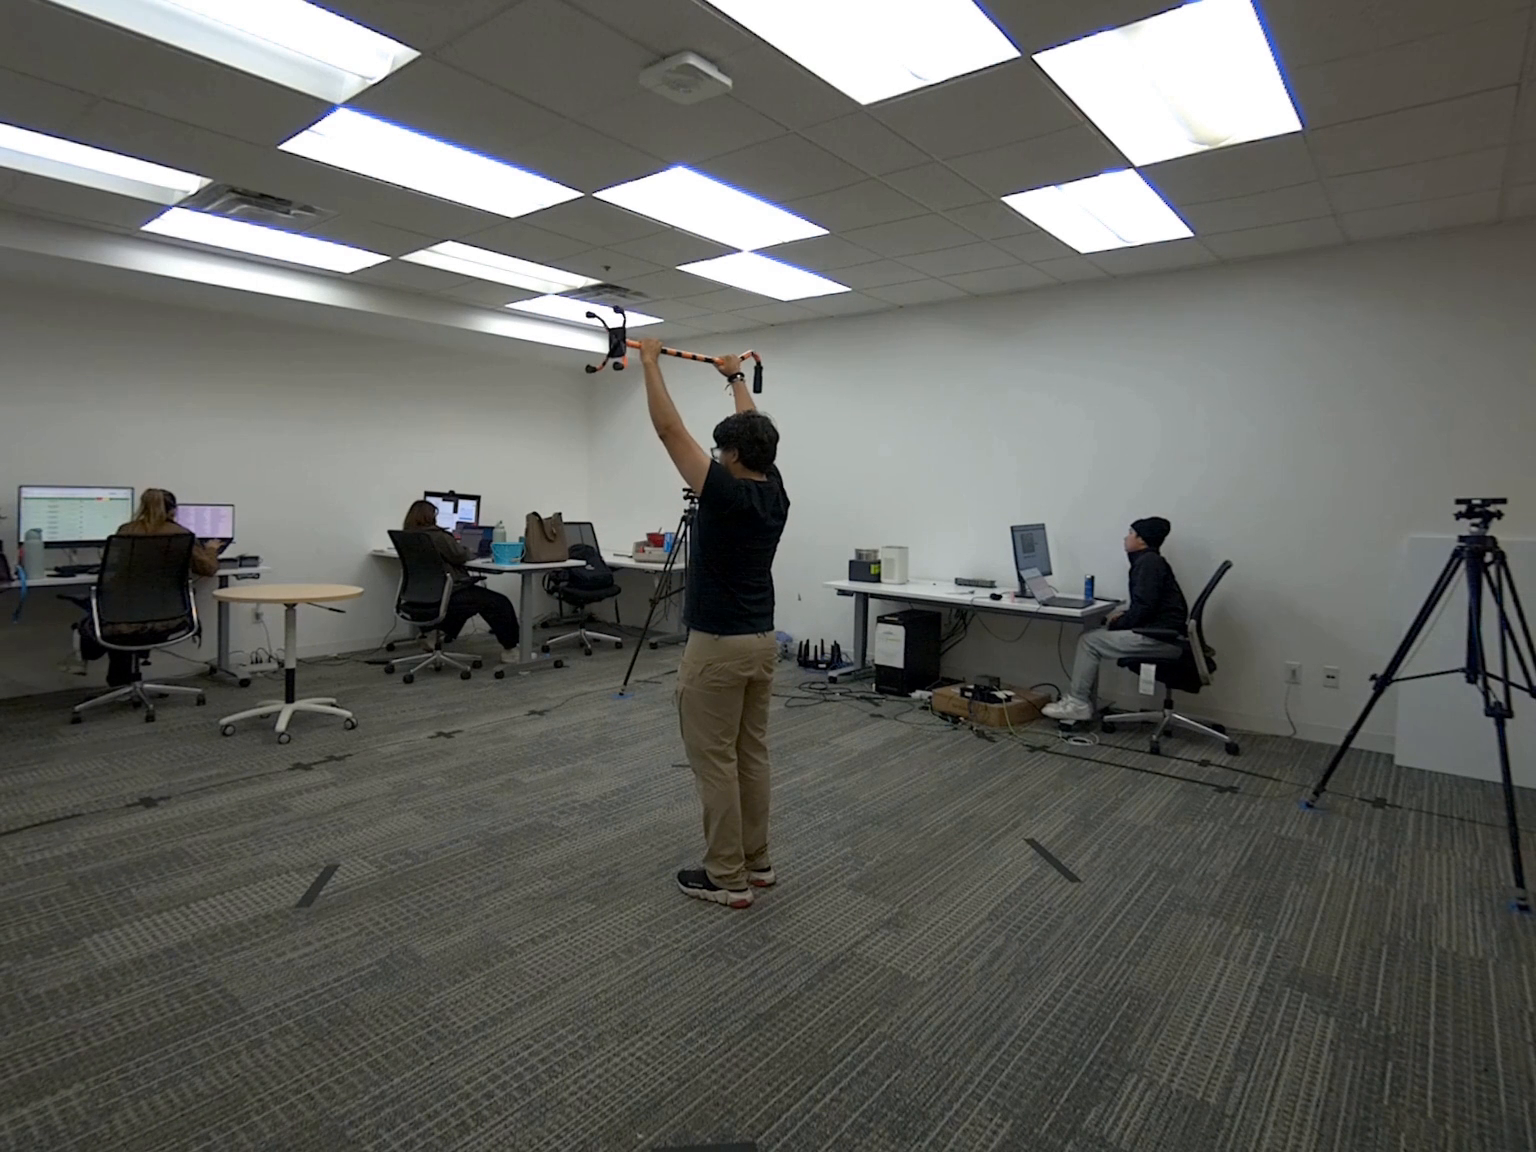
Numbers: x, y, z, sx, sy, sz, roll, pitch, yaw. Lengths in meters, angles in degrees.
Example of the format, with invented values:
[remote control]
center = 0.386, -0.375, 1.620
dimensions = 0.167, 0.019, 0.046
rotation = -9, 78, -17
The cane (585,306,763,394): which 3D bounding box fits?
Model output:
[cane]
center = -0.301, -0.795, 3.101
dimensions = 0.156, 0.205, 0.883
rotation = 5, 8, 34
